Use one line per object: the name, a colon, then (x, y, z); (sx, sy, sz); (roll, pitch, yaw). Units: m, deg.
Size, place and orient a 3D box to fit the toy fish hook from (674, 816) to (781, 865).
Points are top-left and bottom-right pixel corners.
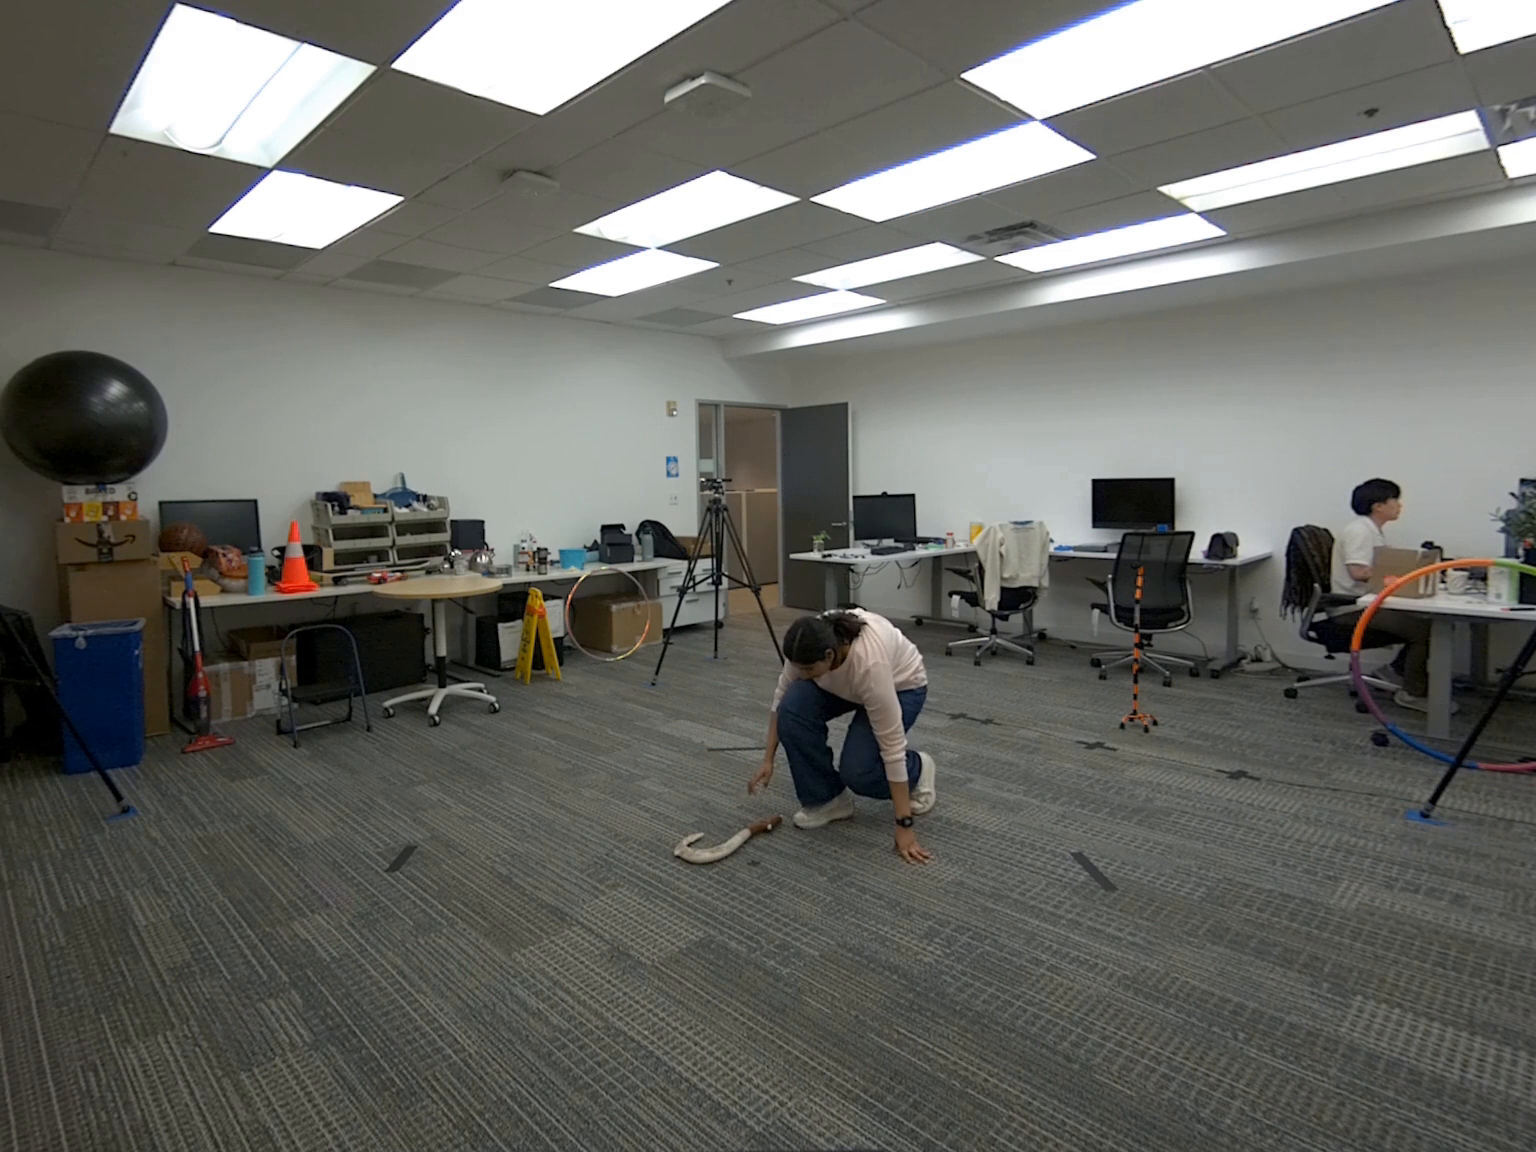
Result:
toy fish hook: (-0.149, 0.999, 3.310); (0.232, 0.048, 0.493); (6, 9, 41)
